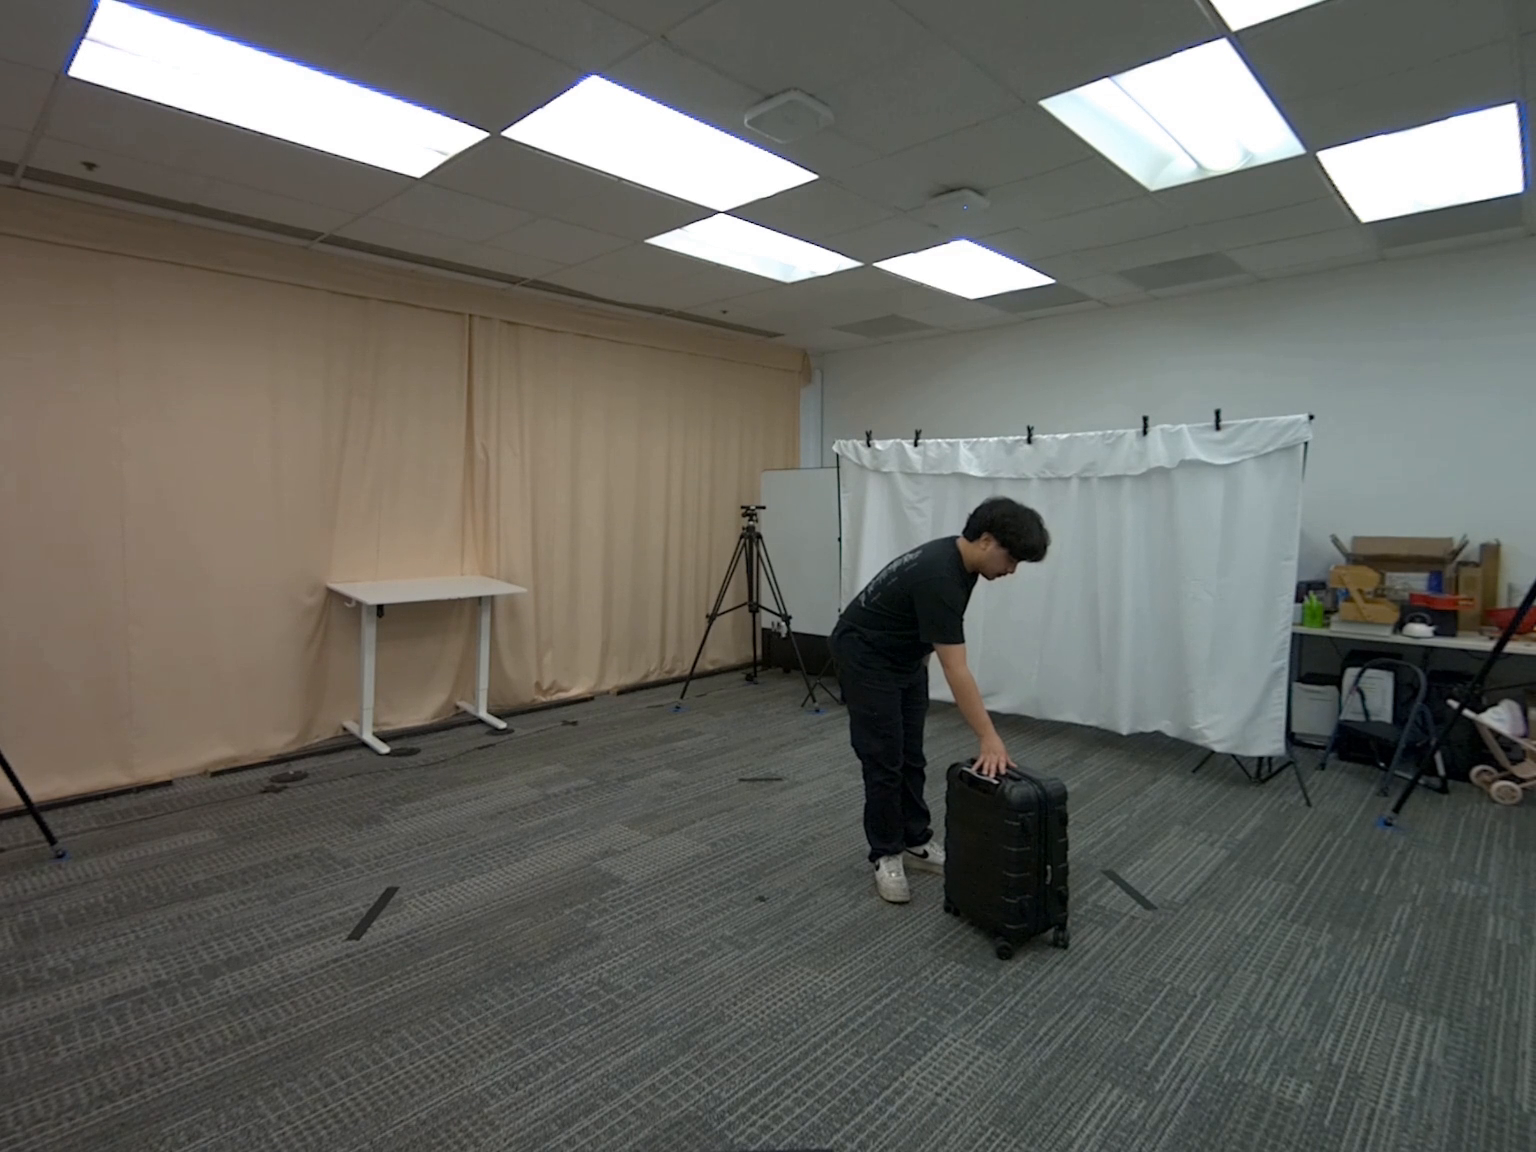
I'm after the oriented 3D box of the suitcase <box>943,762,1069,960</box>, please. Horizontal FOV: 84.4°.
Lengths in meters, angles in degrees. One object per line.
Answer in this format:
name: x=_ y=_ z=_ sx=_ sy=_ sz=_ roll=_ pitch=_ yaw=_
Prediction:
suitcase: x=0.784 y=0.885 z=2.751 sx=0.242 sy=0.548 sz=0.385 roll=-2 pitch=3 yaw=-25
